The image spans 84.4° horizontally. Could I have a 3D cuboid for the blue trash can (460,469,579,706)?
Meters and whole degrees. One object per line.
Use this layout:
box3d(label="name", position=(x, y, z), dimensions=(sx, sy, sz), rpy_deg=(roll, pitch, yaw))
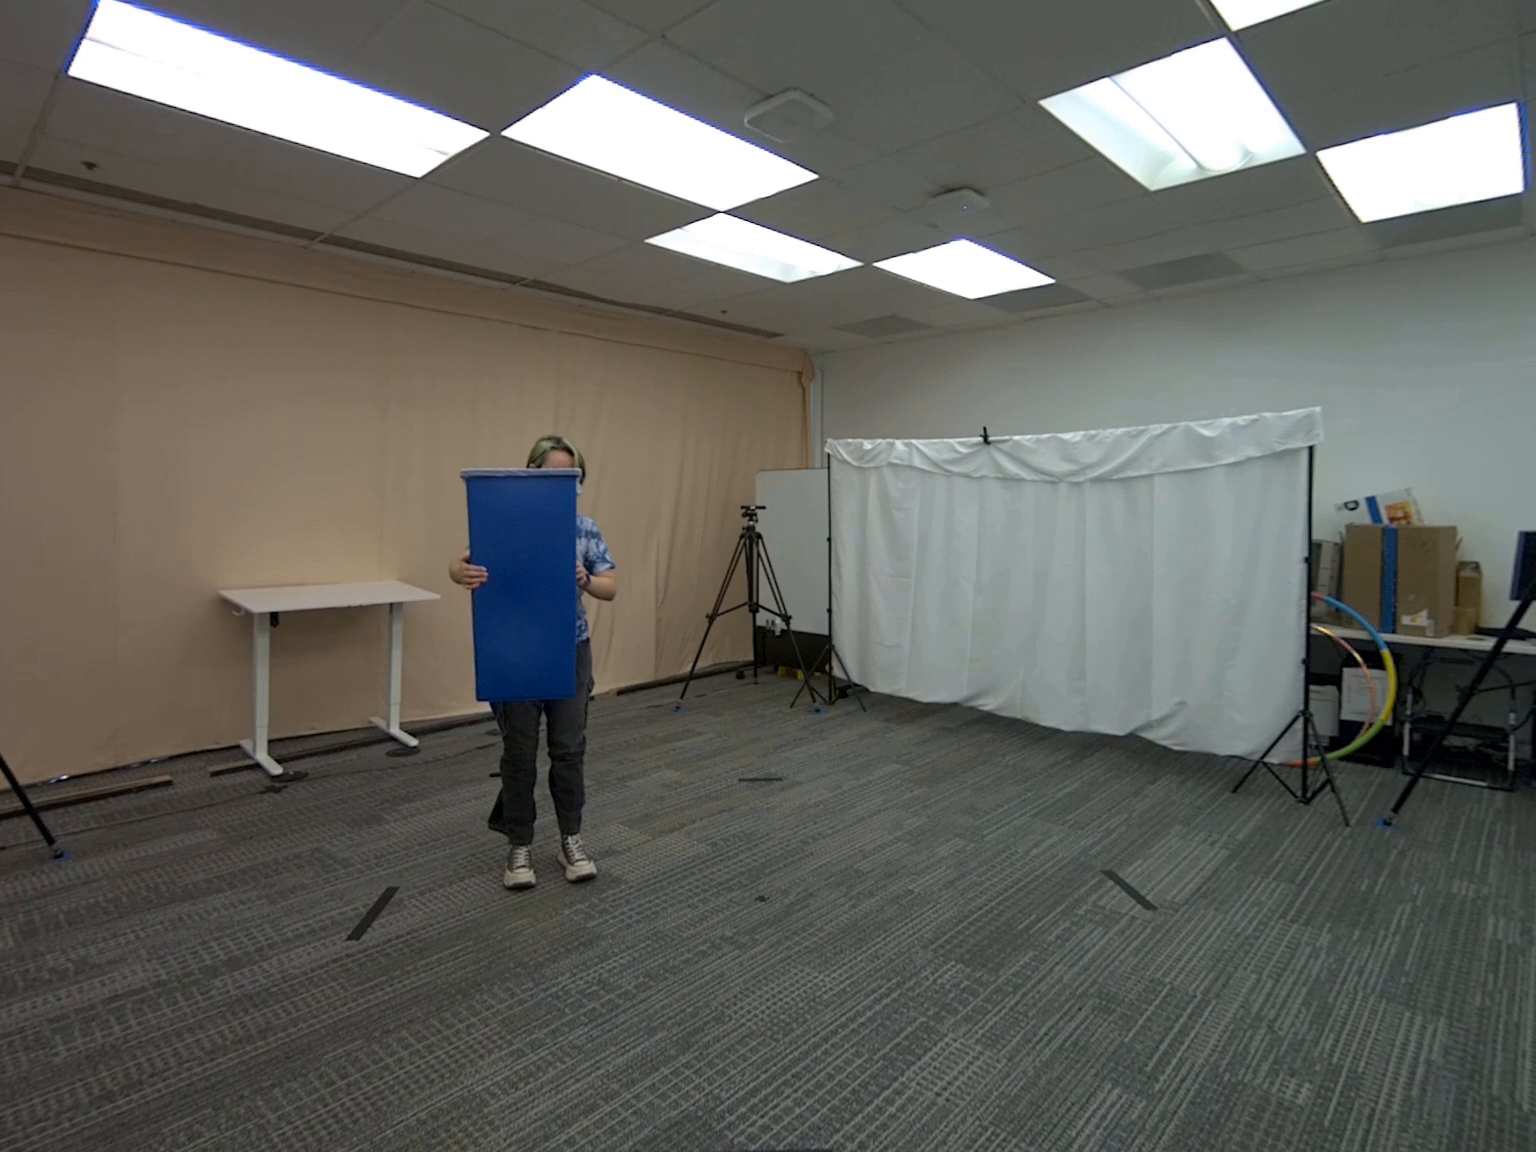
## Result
box3d(label="blue trash can", position=(-0.799, 0.024, 2.742), dimensions=(0.369, 0.714, 0.383), rpy_deg=(0, 0, -13))
